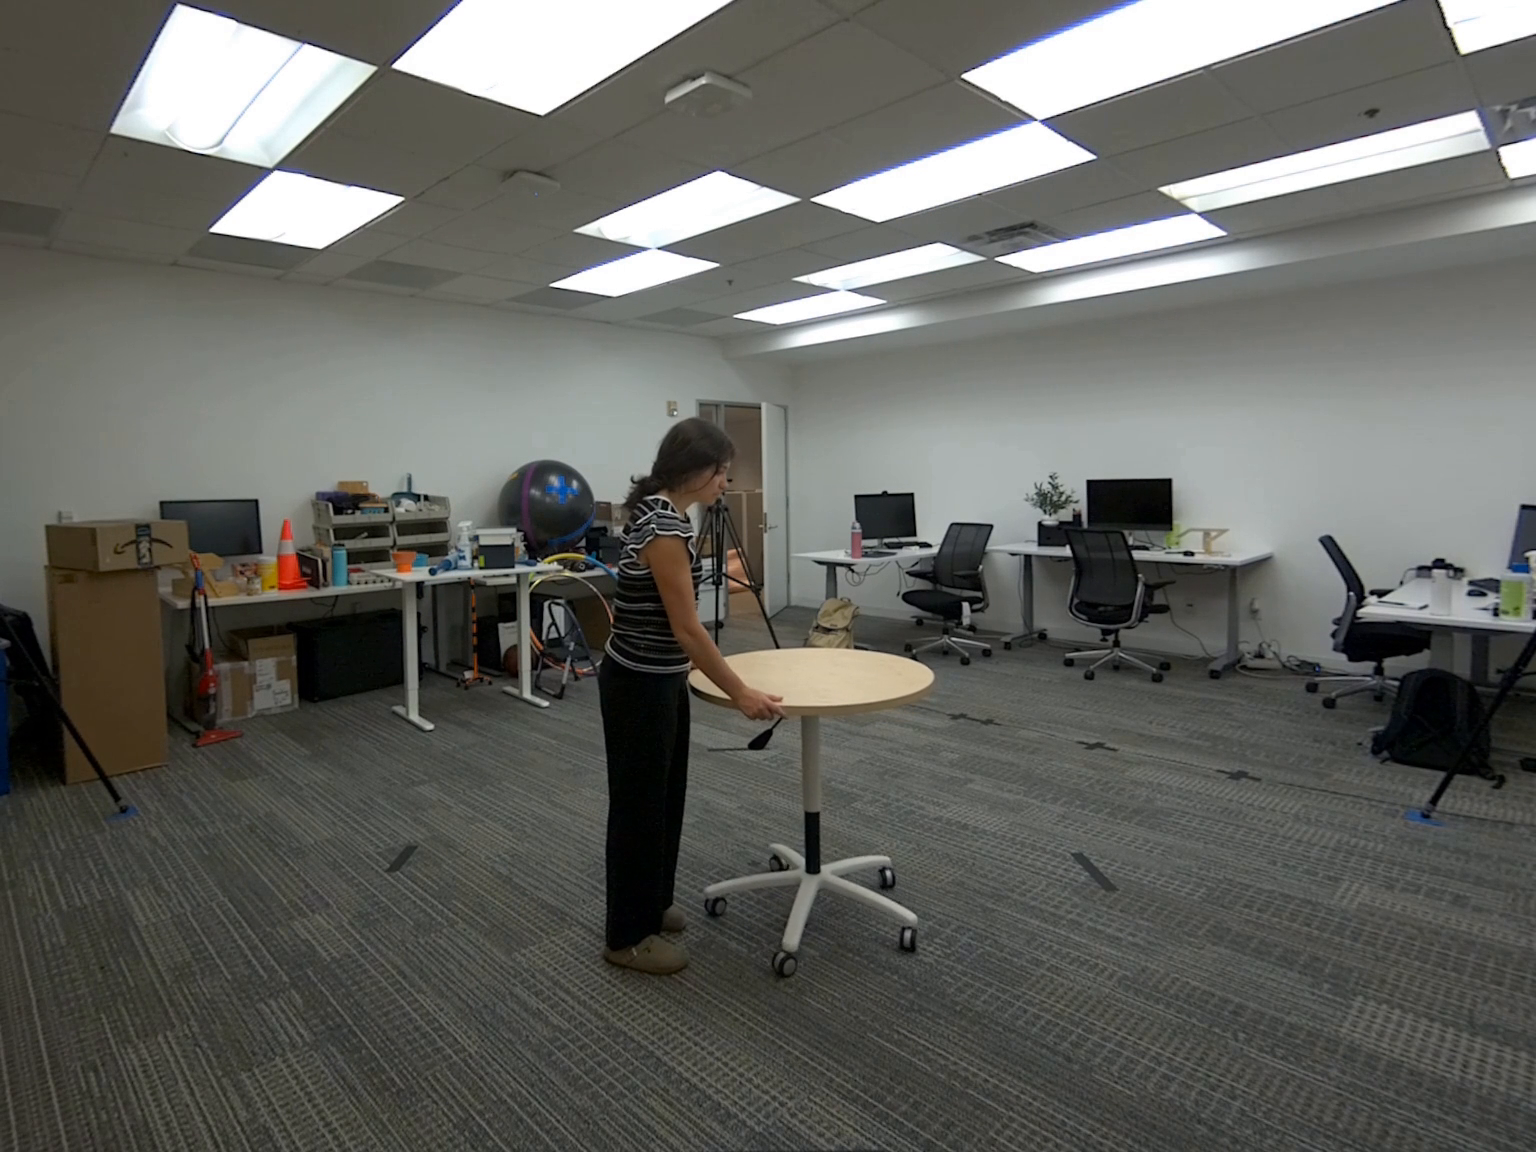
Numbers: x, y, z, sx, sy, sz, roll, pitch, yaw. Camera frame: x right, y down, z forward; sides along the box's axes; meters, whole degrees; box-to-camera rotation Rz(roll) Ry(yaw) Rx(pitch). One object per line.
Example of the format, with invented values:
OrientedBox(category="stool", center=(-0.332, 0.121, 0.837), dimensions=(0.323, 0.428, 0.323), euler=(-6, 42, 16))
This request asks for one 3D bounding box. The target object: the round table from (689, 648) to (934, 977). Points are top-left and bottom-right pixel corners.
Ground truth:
OrientedBox(category="round table", center=(0.148, 0.700, 2.718), dimensions=(0.763, 0.791, 0.768), euler=(-1, 5, -2))
